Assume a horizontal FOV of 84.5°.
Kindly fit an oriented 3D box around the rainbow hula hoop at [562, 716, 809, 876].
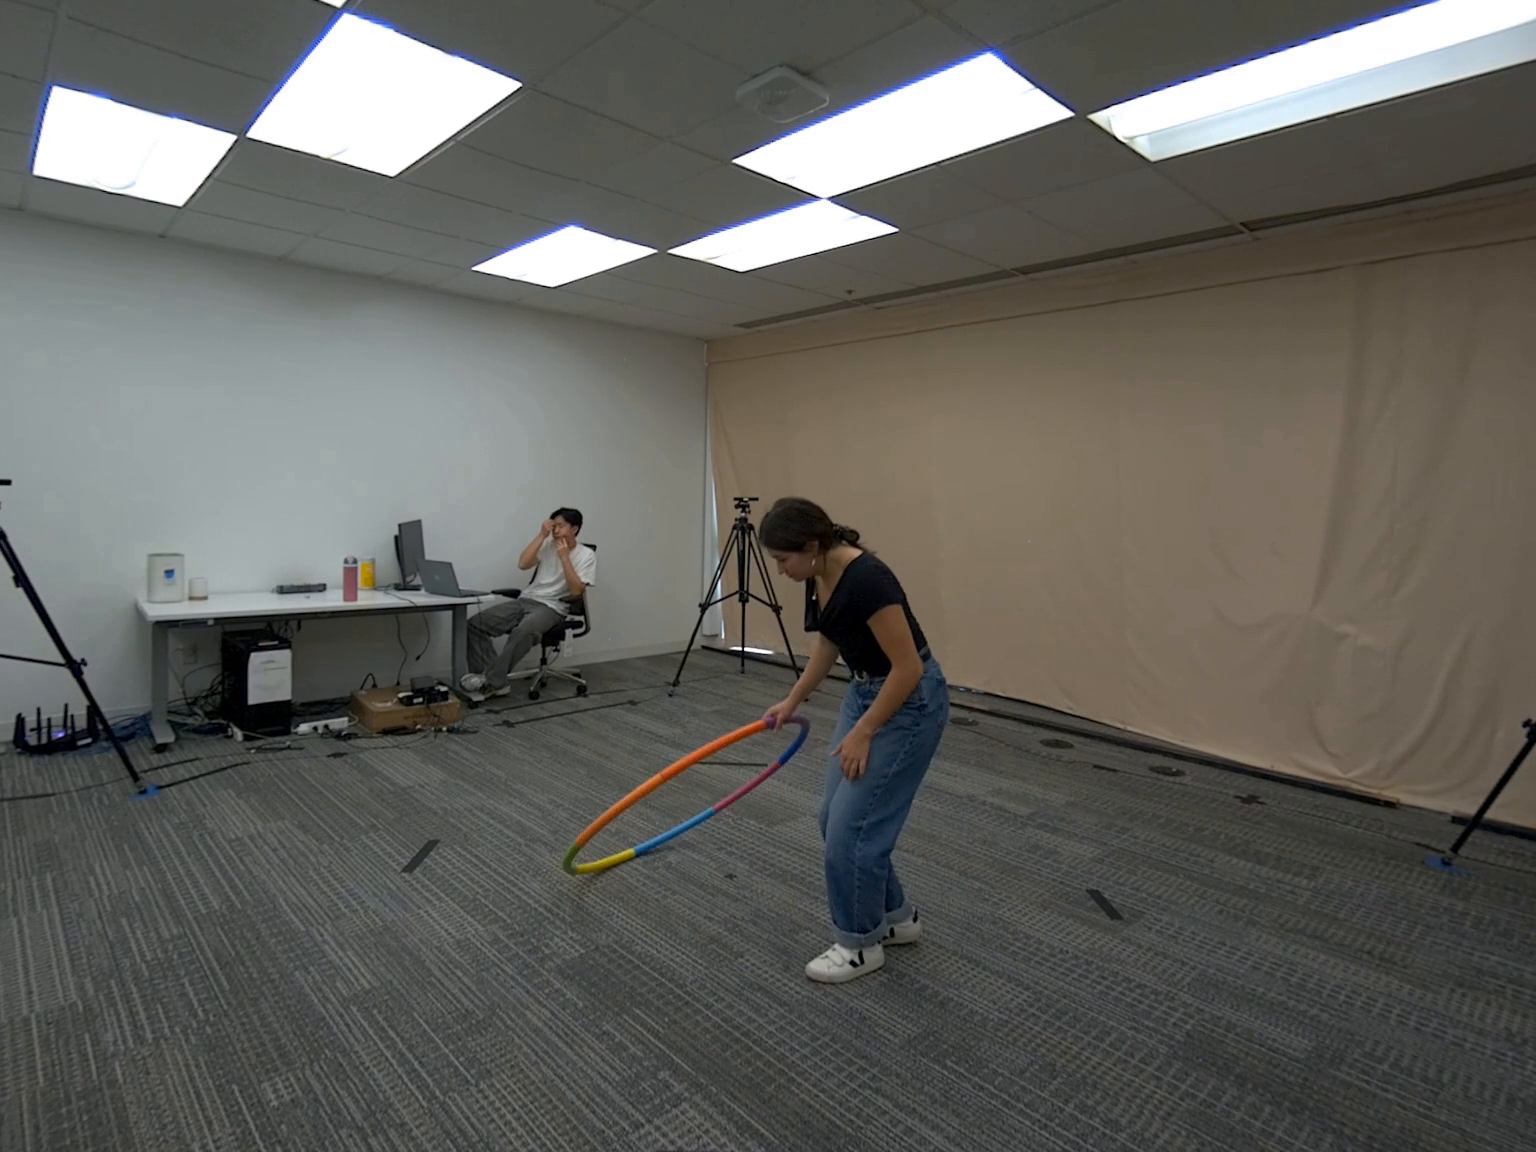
[{"bbox_3d":[-0.270,0.778,2.951,0.973,0.036,0.961,-27,-22,-14],"label":"rainbow hula hoop"}]
